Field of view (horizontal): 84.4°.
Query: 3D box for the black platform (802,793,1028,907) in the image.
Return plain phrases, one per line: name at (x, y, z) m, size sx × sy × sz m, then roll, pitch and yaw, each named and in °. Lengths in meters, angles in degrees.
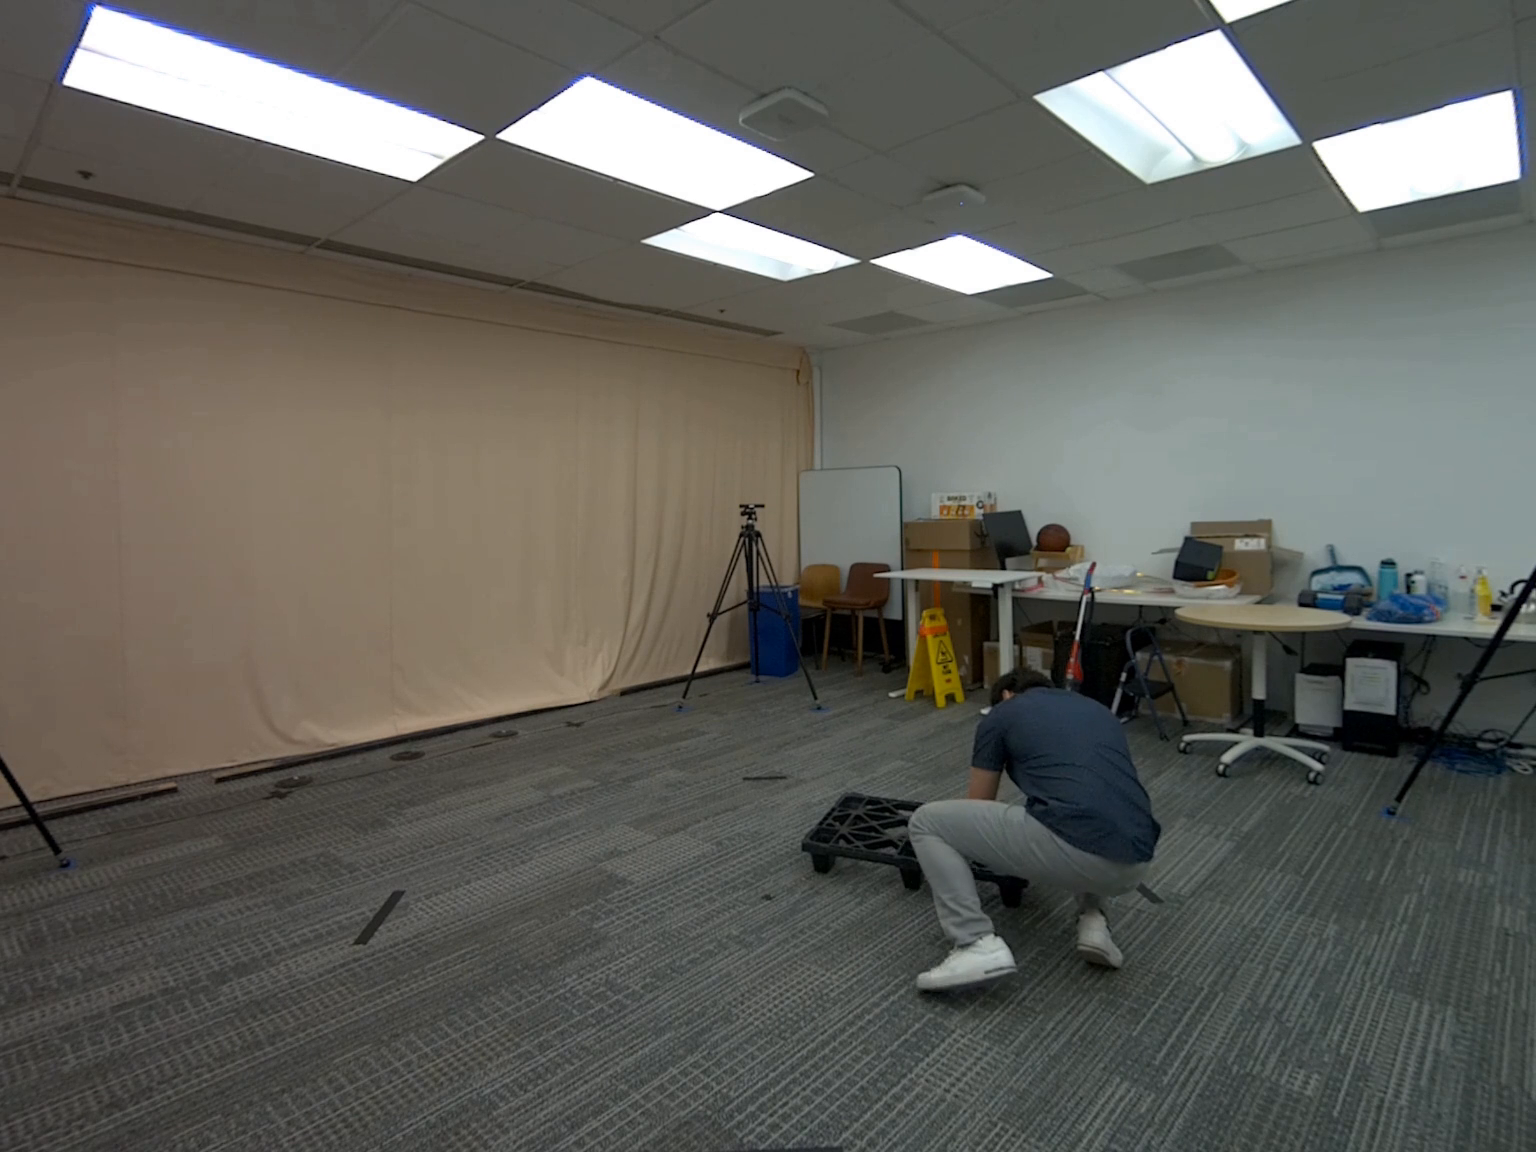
black platform at (0.599, 1.038, 3.238) m, size 0.825 × 0.143 × 0.592 m, roll 1°, pitch 4°, yaw 23°
